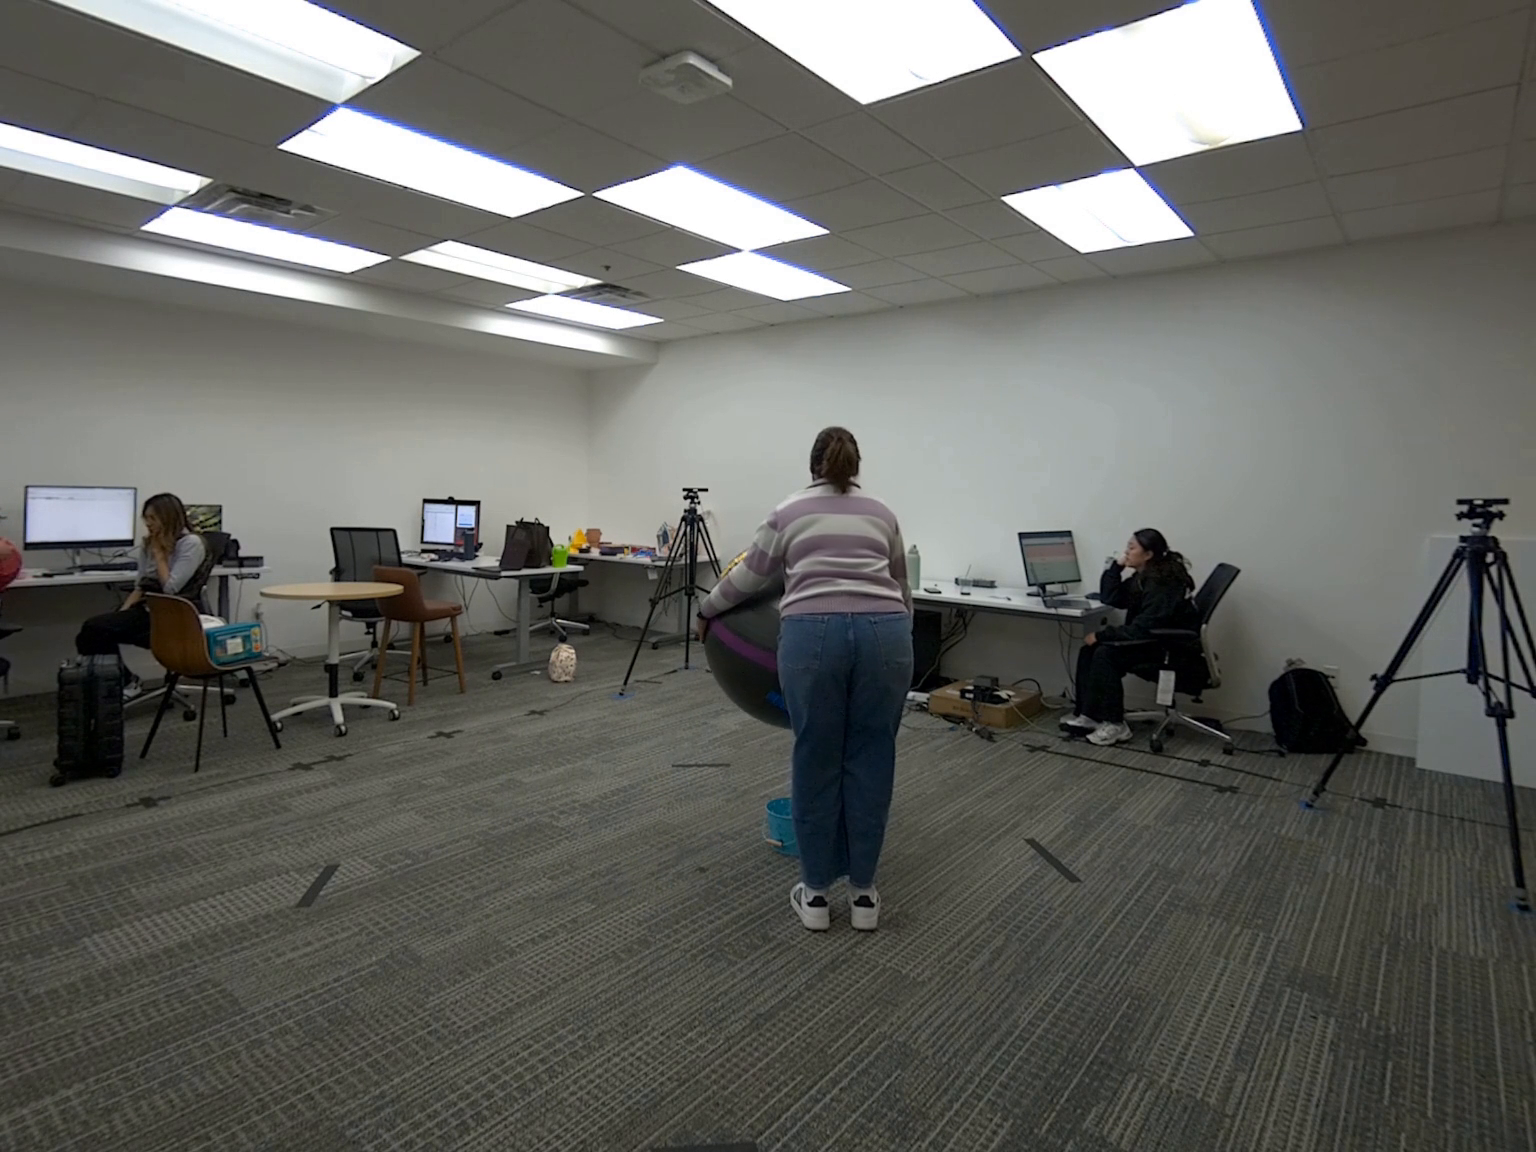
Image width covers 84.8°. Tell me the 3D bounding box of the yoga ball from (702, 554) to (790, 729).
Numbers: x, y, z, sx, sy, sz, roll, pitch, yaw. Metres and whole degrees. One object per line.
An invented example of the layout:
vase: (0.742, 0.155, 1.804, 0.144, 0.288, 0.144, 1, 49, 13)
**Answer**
yoga ball: (0.116, 0.215, 3.314, 0.757, 0.756, 0.762, 1, 4, -2)
